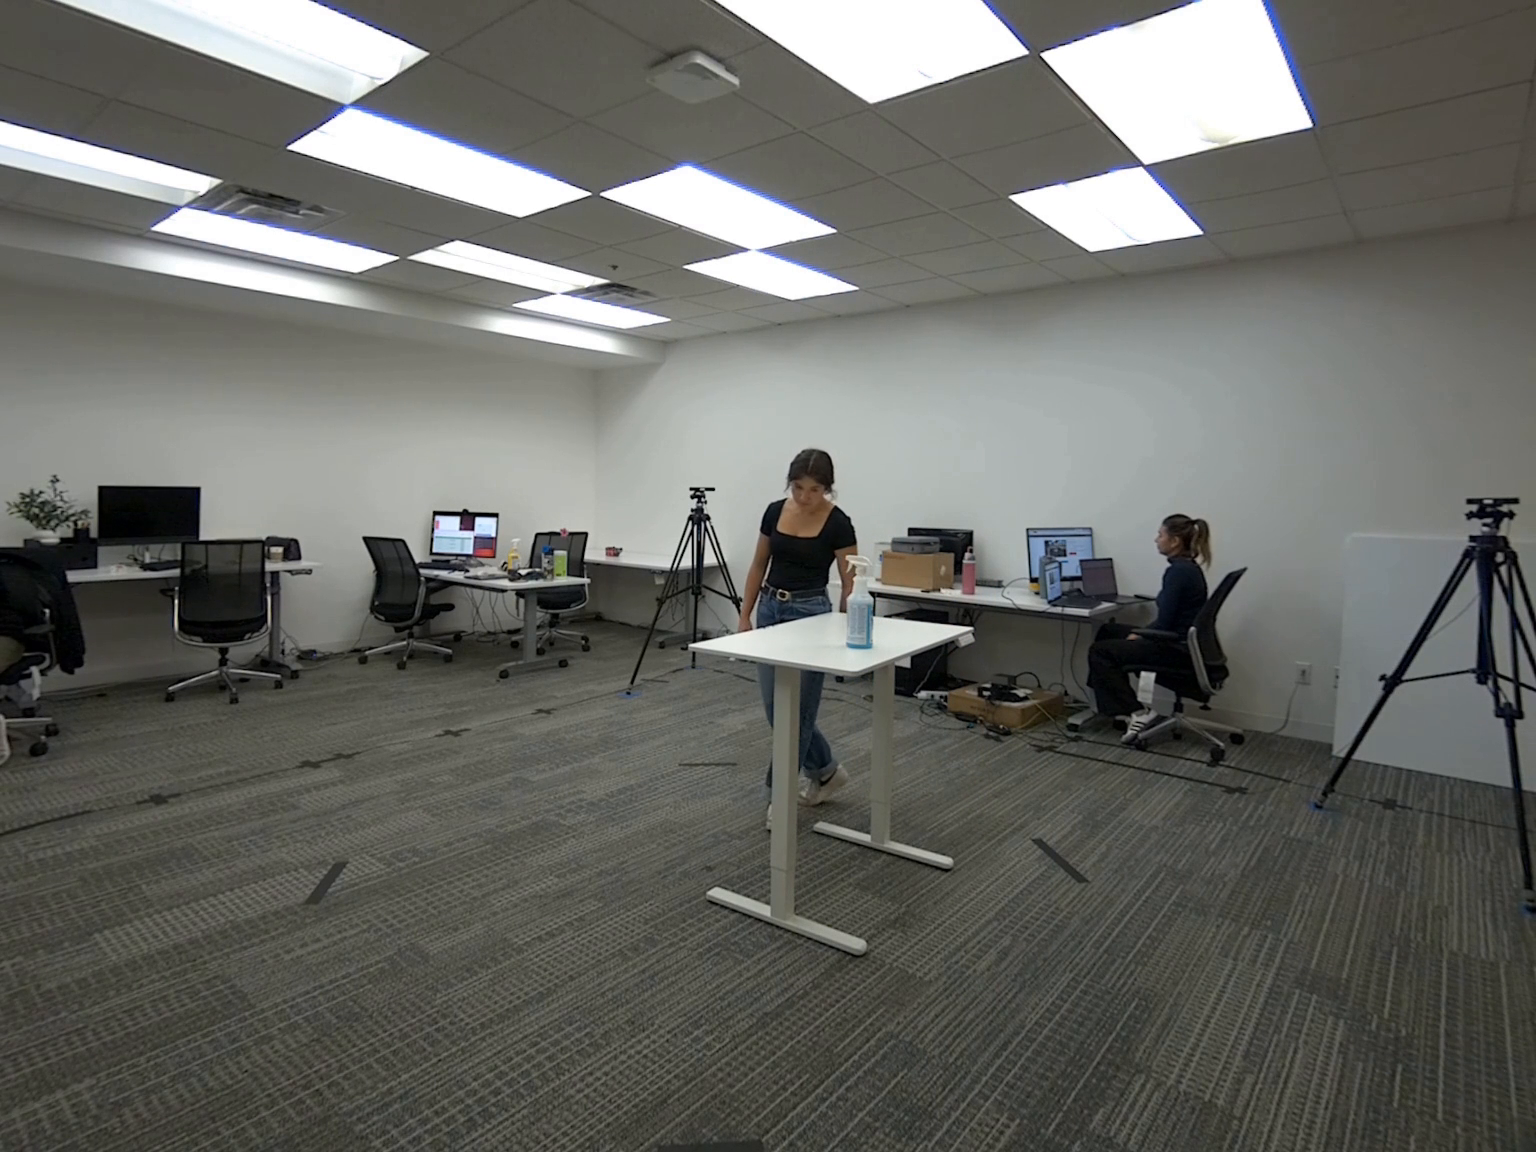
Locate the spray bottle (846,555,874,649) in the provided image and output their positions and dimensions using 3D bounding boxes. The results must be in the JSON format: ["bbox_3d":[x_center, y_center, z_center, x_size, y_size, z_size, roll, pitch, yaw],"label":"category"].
[{"bbox_3d":[0.300,0.080,2.775,0.084,0.297,0.093,1,0,-34],"label":"spray bottle"}]
